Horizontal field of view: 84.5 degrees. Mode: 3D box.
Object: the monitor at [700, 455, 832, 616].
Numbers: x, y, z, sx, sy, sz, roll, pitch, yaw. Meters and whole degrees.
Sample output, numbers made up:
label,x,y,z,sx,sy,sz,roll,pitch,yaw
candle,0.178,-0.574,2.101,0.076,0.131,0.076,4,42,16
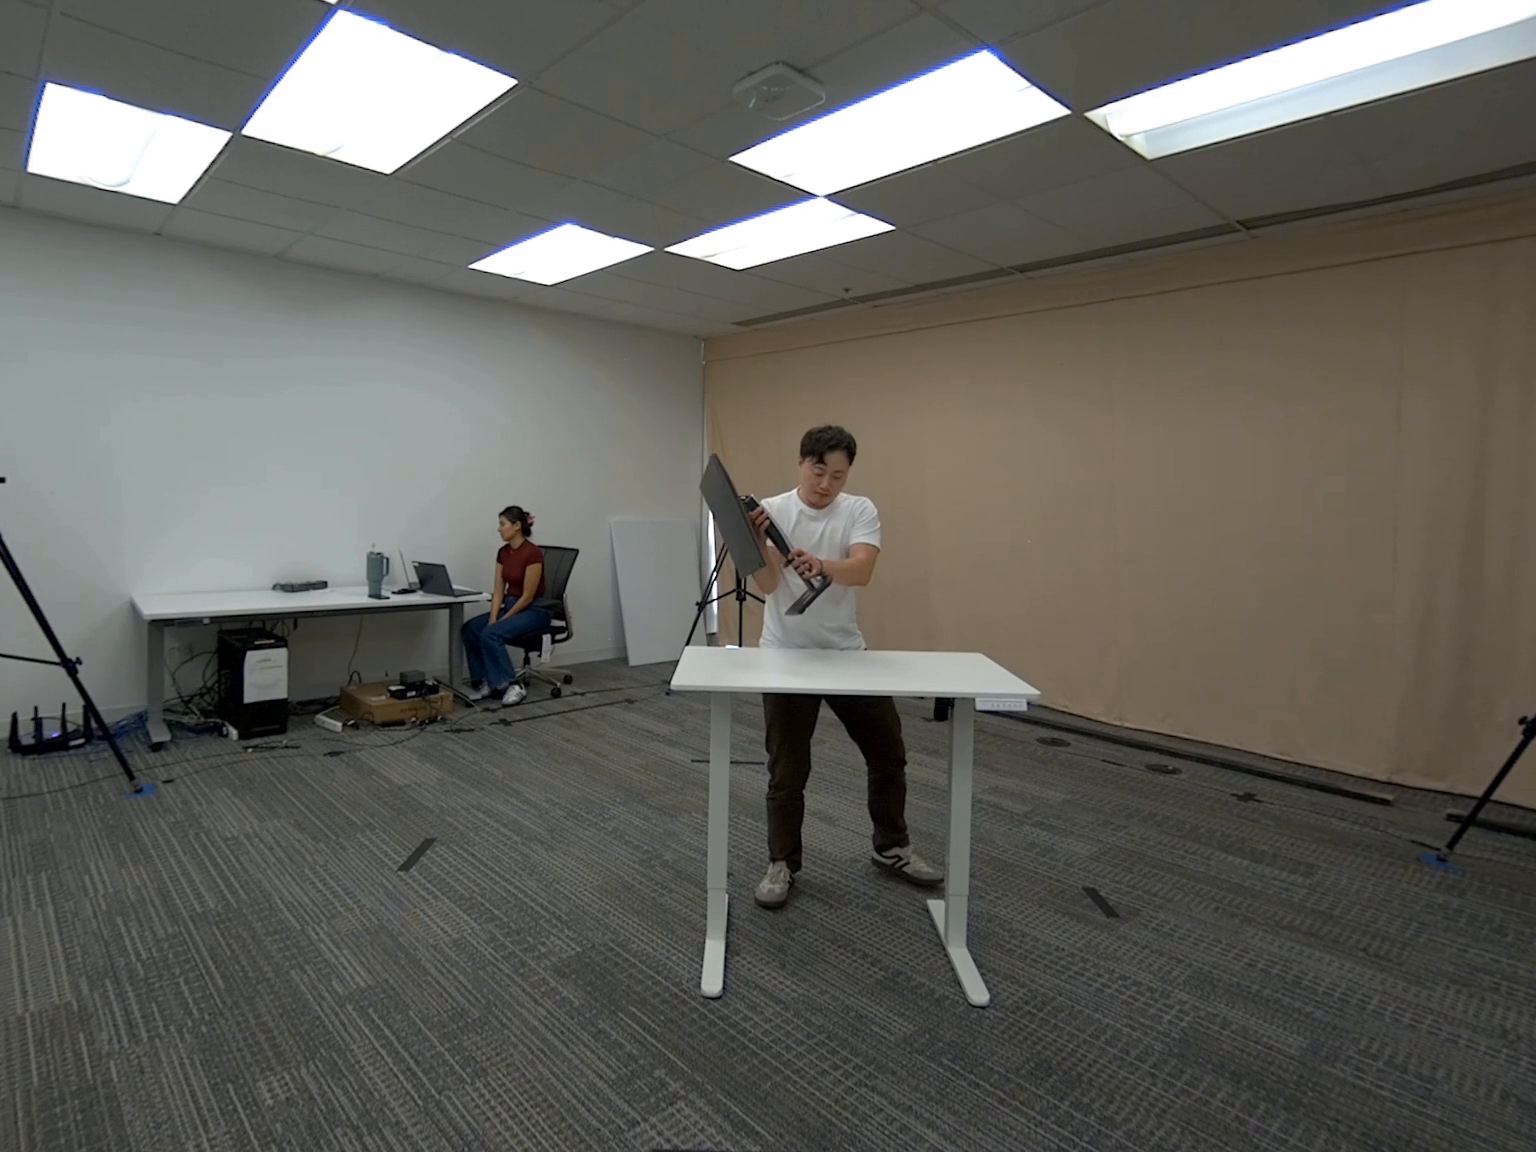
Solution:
label,x,y,z,sx,sy,sz,roll,pitch,yaw
monitor,-0.040,-0.110,2.640,0.187,0.523,0.539,-37,0,-11
